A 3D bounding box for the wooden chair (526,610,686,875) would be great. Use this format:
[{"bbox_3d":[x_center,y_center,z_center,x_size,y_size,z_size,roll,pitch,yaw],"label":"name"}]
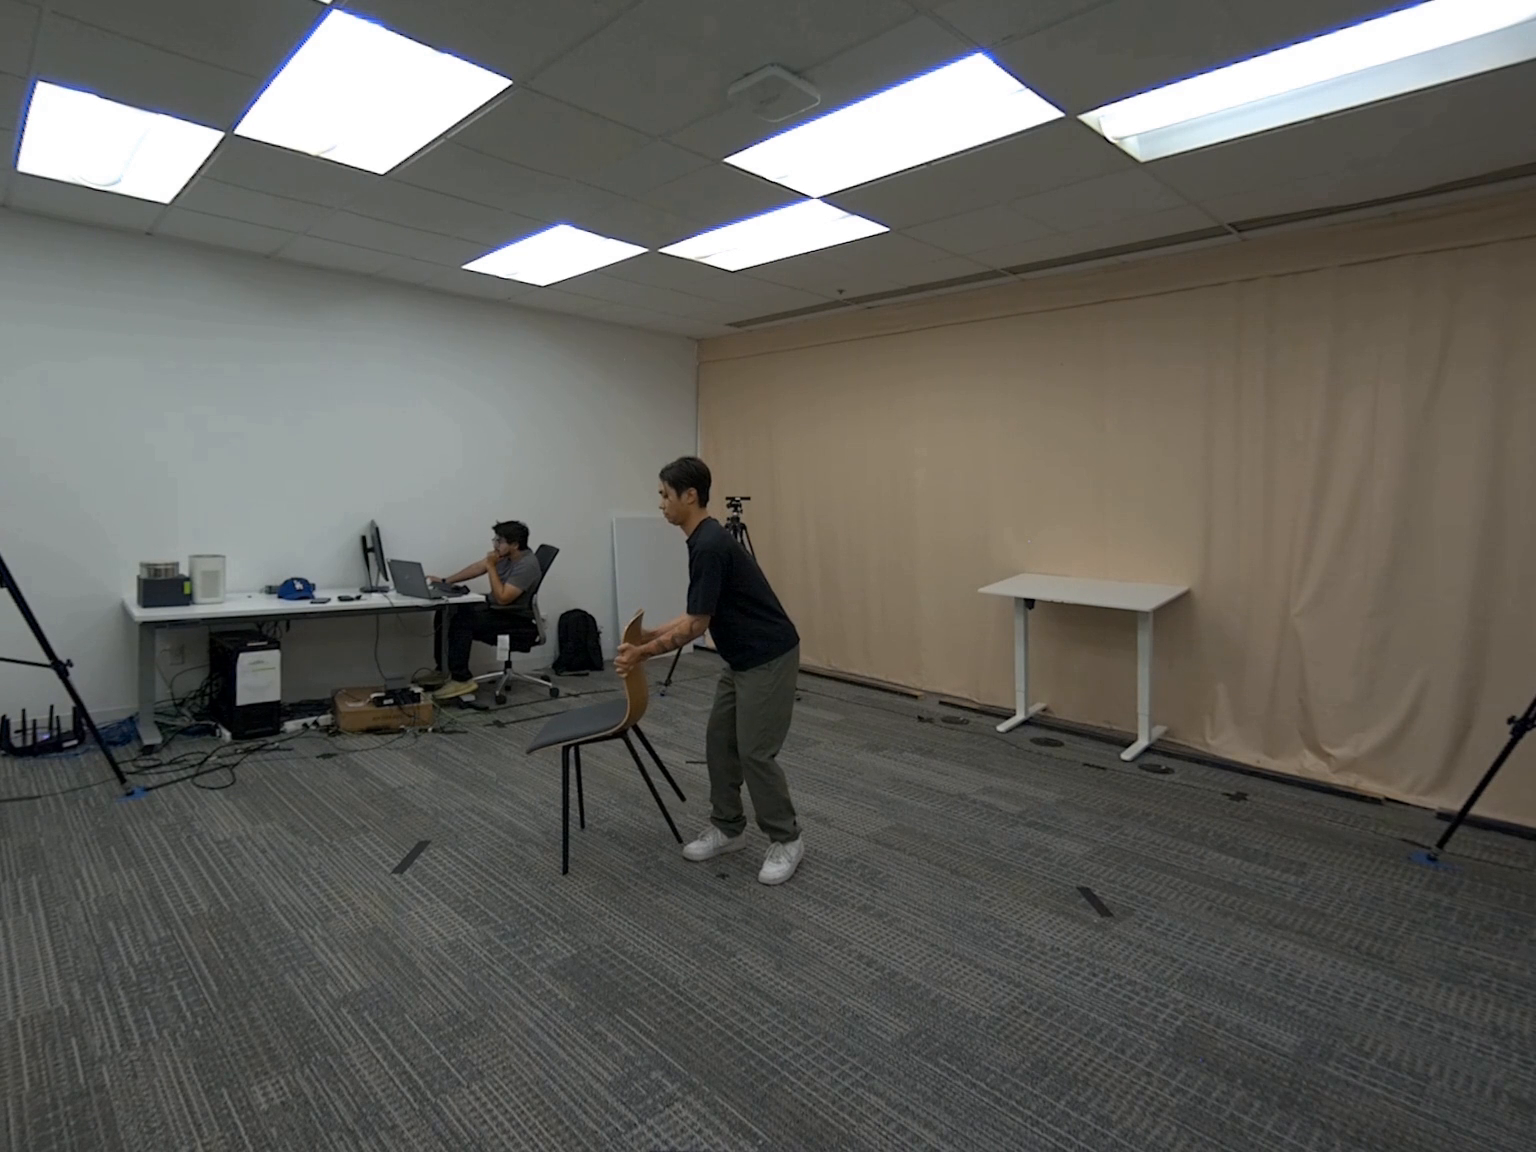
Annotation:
[{"bbox_3d":[-0.662,0.606,3.266,0.523,0.875,0.480,-10,4,-2],"label":"wooden chair"}]
